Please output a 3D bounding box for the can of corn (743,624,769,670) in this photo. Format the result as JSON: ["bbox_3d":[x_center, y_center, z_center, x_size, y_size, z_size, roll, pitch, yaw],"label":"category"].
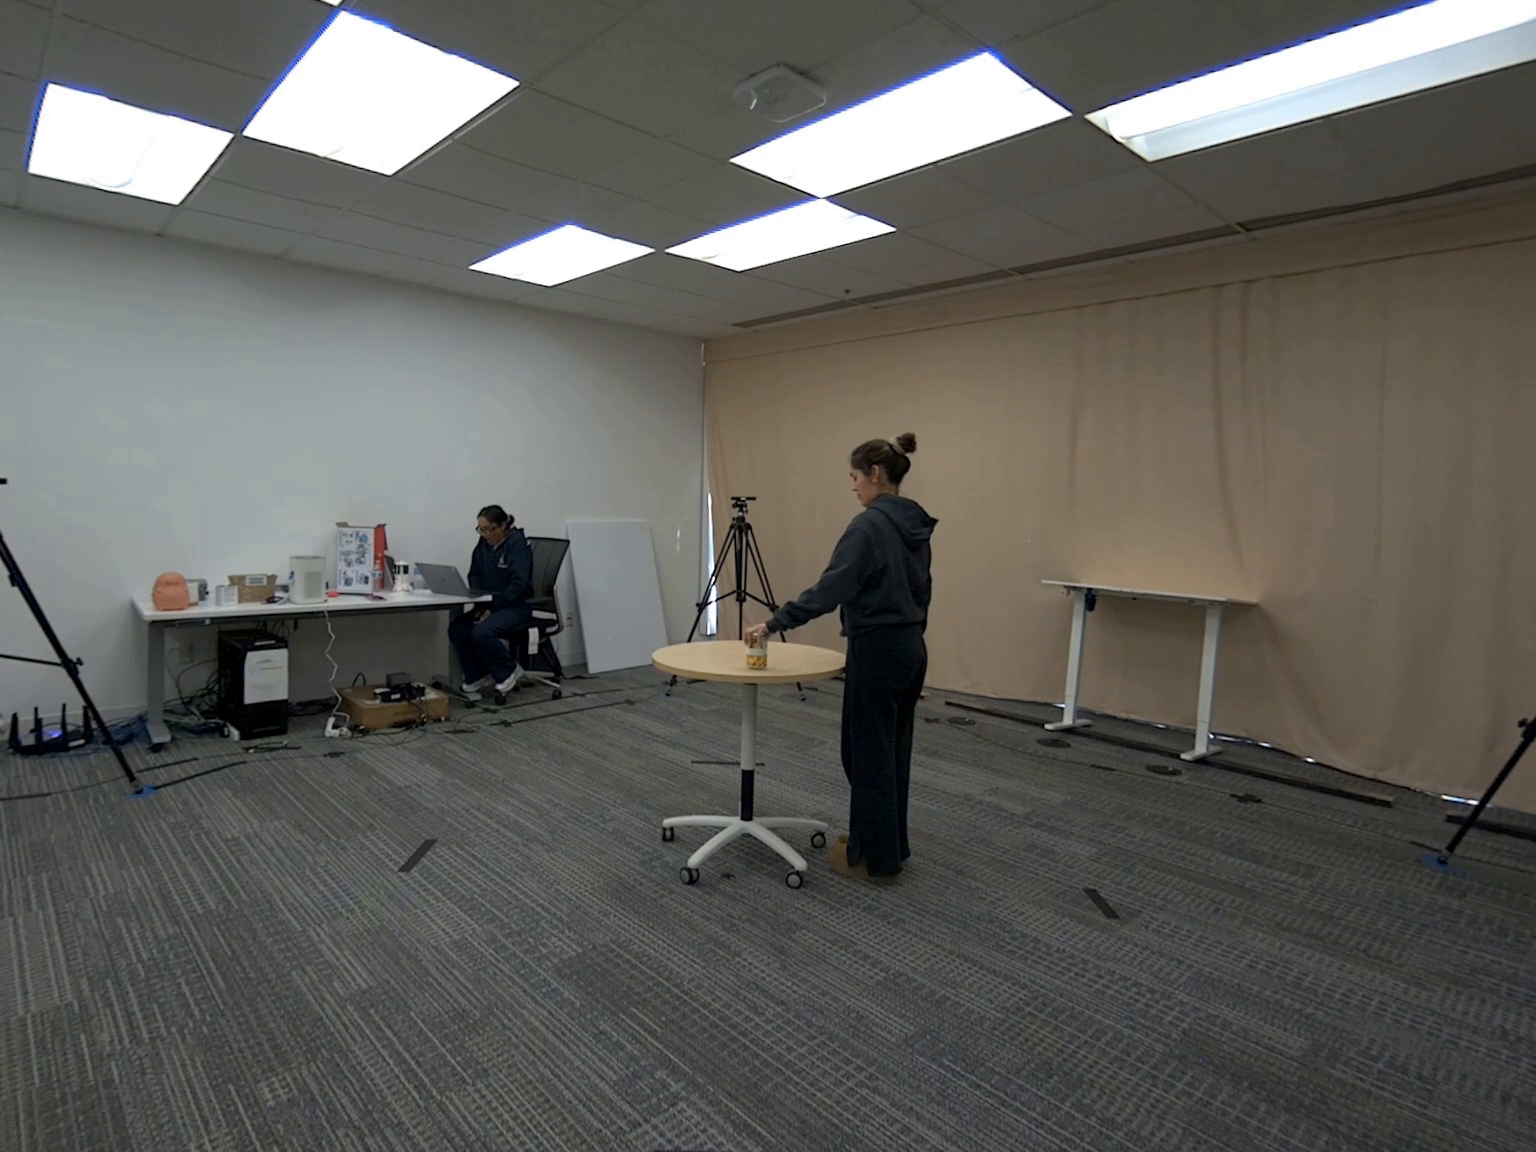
[{"bbox_3d":[-0.047,0.263,3.011,0.074,0.110,0.074,5,6,-2],"label":"can of corn"}]
